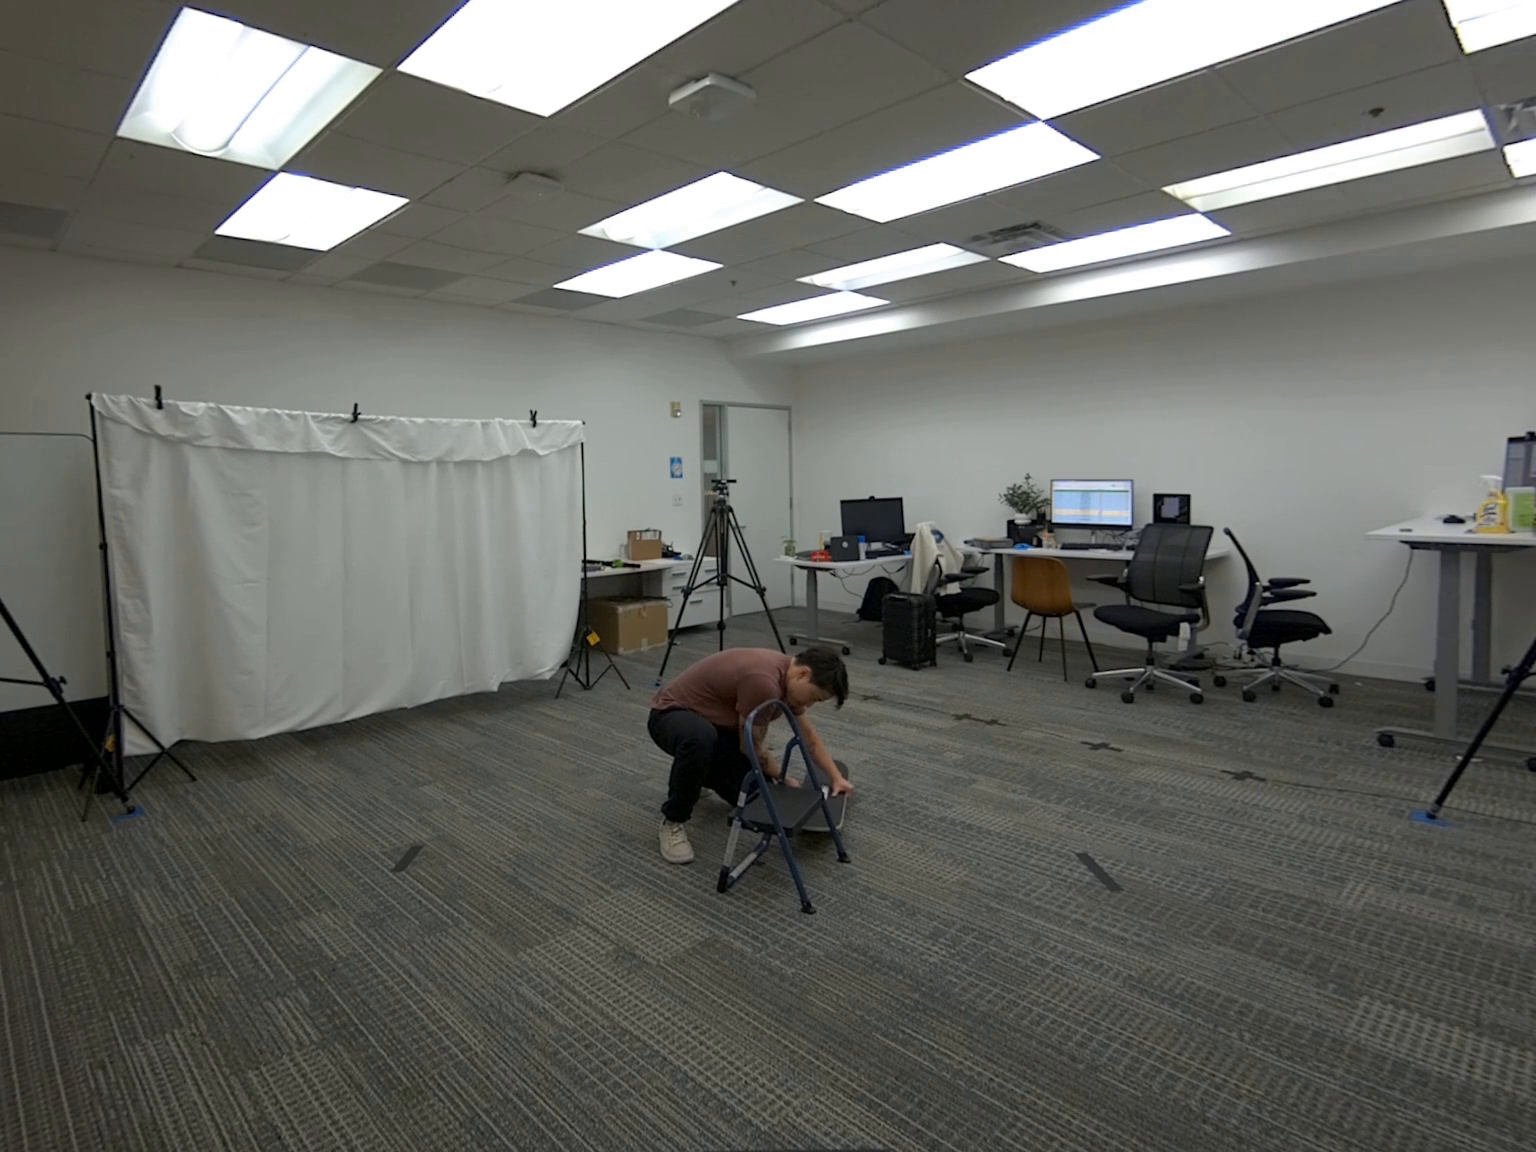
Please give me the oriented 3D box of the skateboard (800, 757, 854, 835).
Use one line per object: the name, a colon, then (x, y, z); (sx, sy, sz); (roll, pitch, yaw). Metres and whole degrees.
skateboard: (0.217, 0.929, 3.519); (0.195, 0.110, 0.780); (3, 7, 9)
